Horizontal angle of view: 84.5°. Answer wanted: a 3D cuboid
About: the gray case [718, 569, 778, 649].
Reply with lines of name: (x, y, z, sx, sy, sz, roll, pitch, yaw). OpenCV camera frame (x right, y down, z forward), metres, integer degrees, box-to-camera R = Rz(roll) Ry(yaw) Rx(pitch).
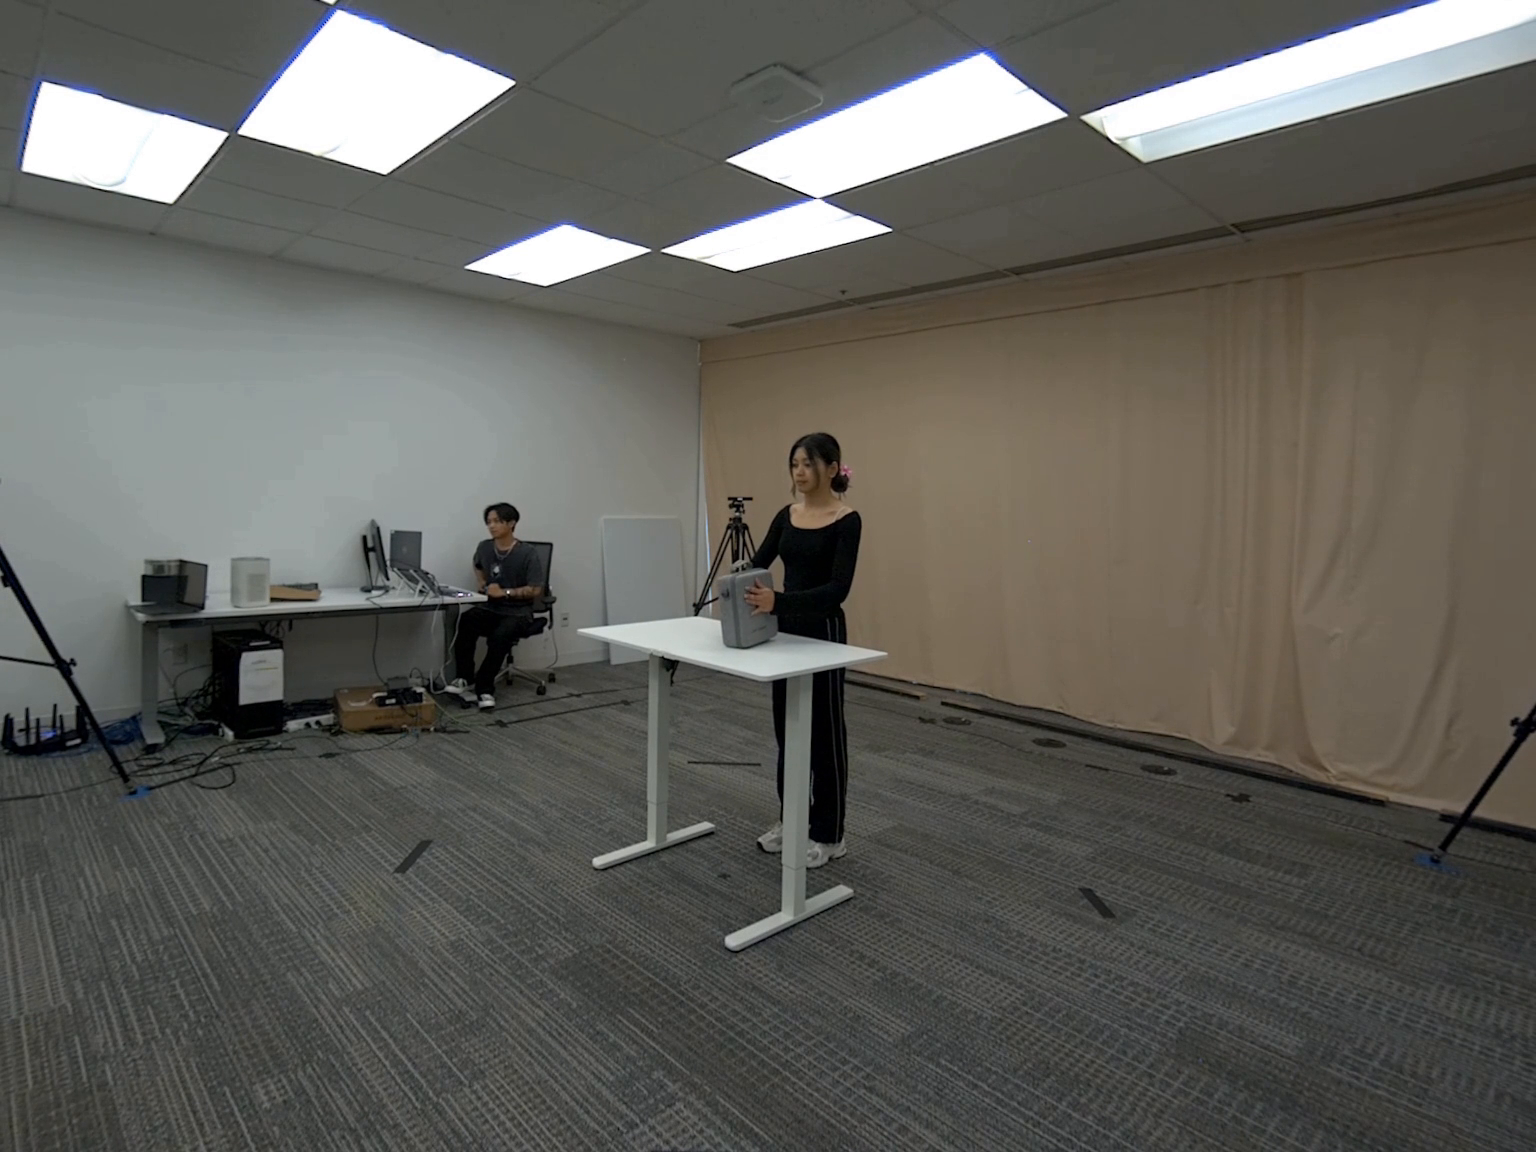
gray case: (-0.083, 0.110, 2.957, 0.106, 0.260, 0.252, -2, 3, 26)
